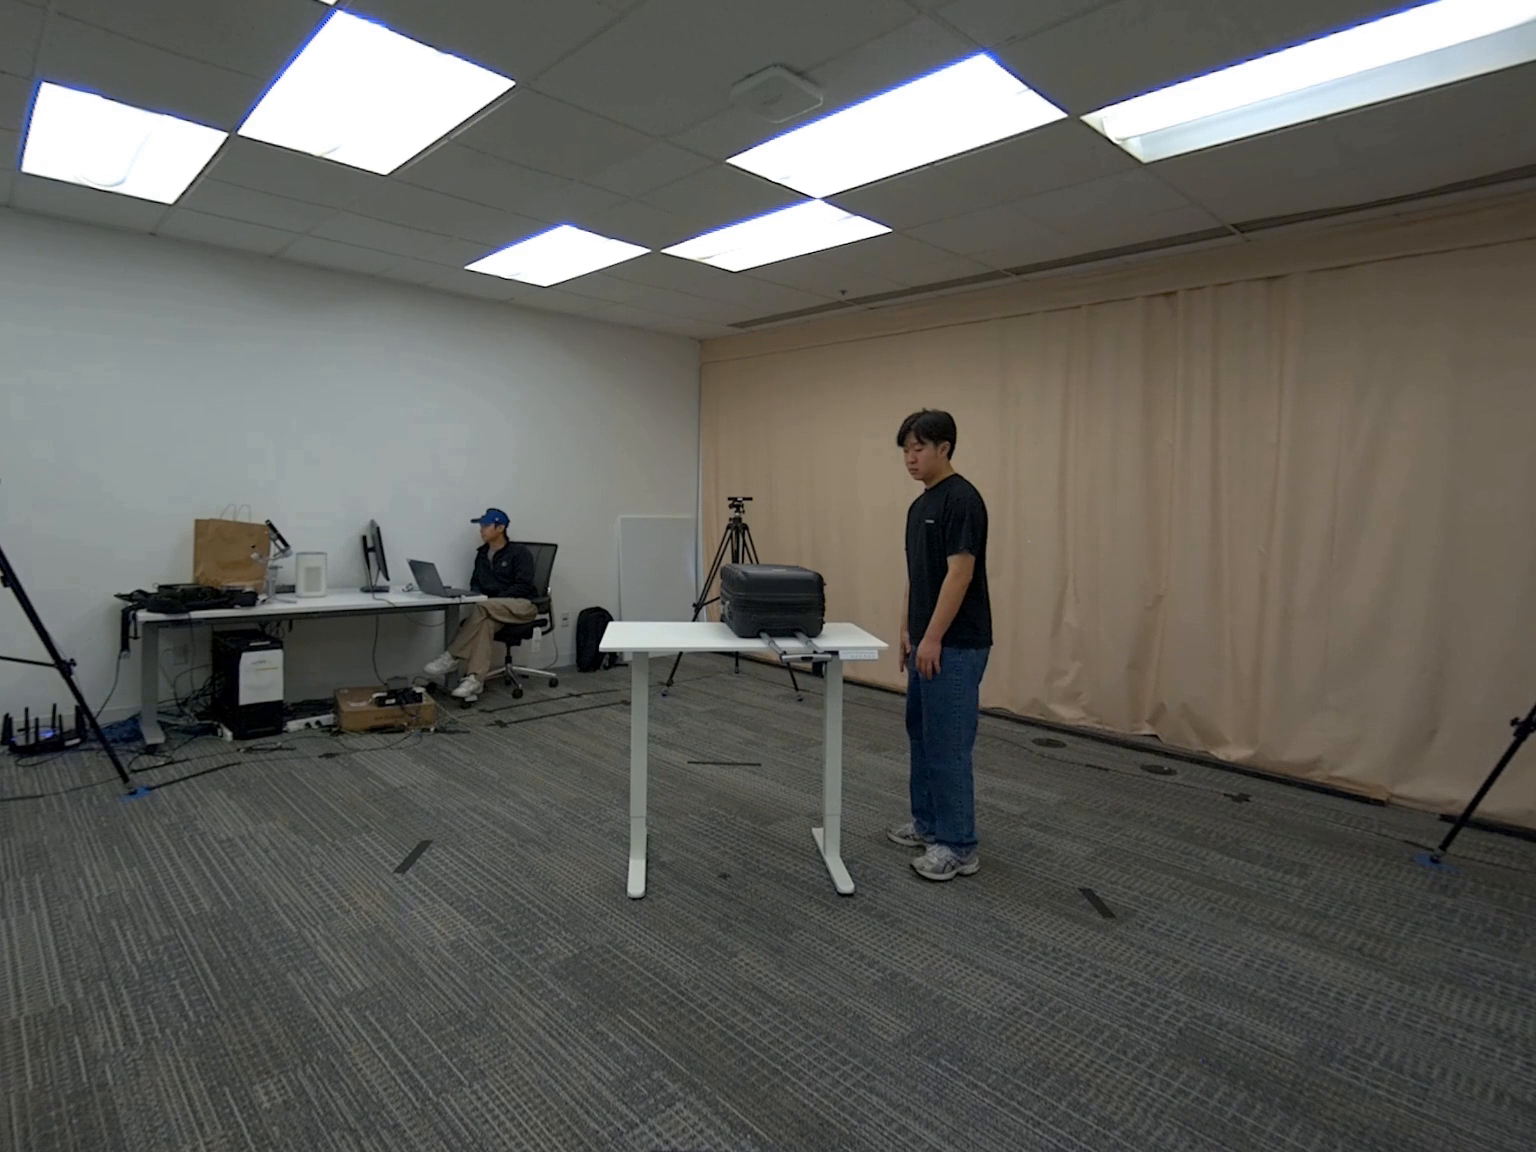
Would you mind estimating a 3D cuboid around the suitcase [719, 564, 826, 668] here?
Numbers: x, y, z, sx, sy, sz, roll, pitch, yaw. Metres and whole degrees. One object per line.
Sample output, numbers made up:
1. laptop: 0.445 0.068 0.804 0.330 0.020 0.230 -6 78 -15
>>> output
1. suitcase: 0.035 0.104 3.095 0.382 0.257 0.985 1 2 -8
